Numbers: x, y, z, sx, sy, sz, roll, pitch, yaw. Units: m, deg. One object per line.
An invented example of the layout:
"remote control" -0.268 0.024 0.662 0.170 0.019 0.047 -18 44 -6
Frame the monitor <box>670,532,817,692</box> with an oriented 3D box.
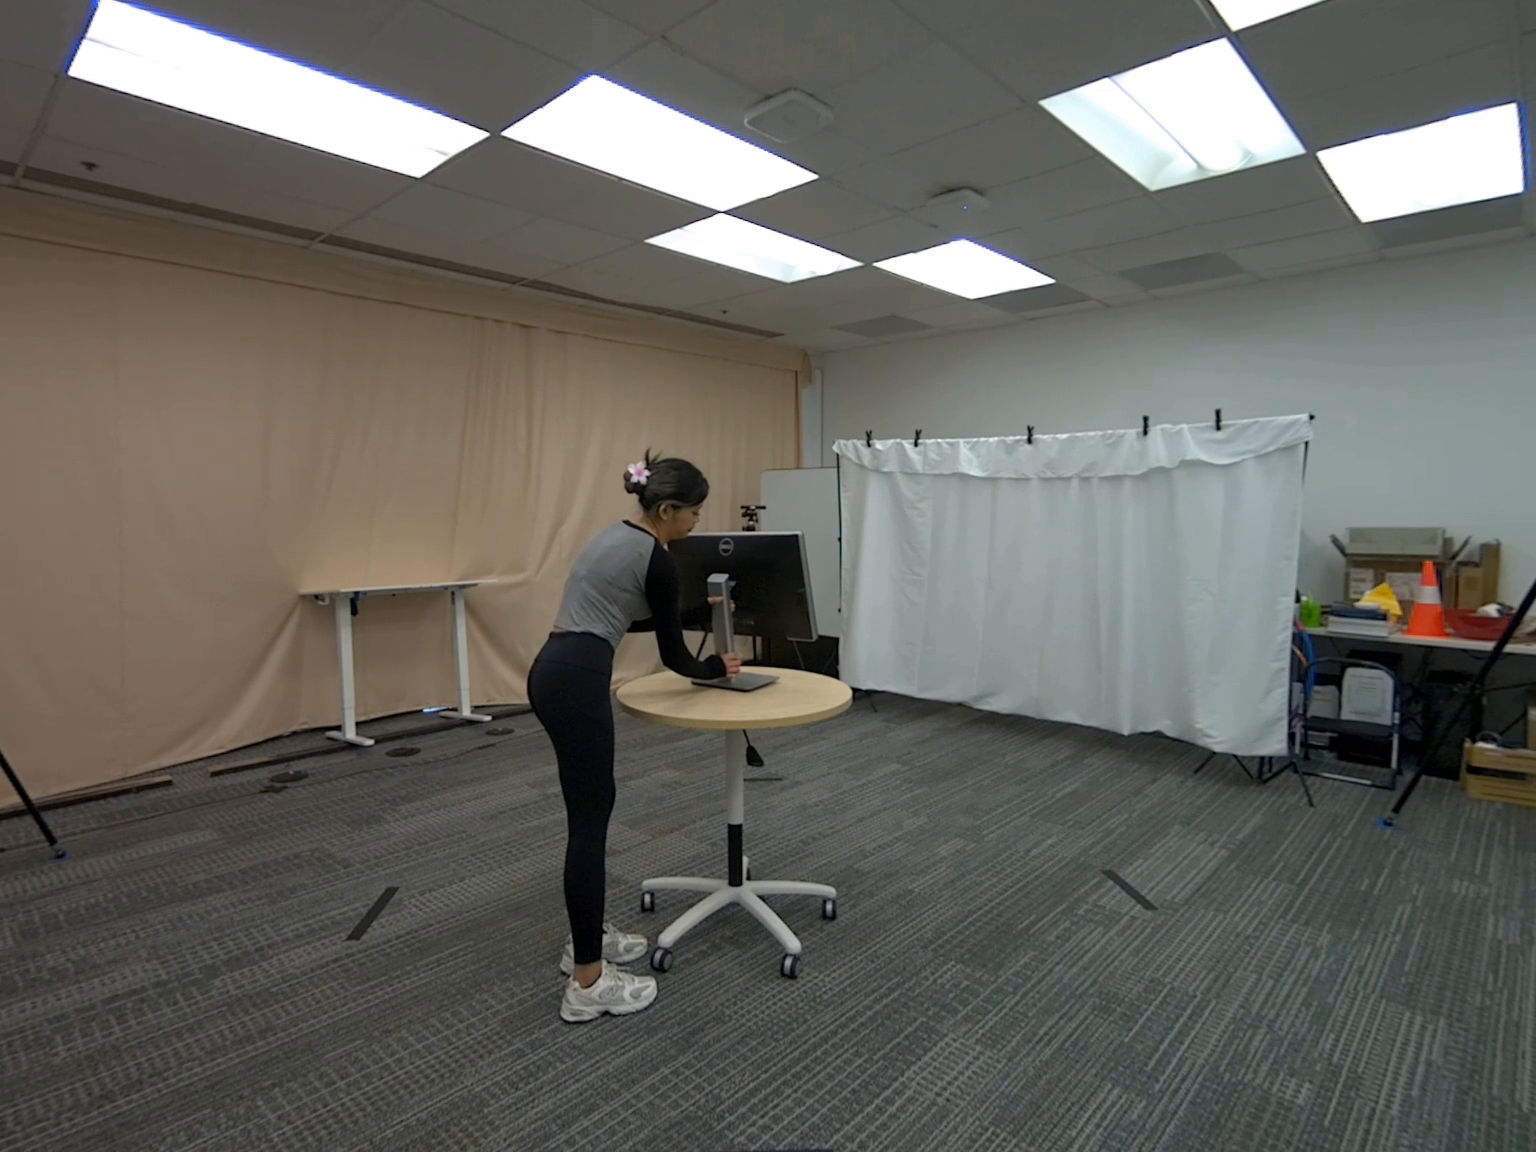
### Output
"monitor" -0.118 0.116 2.824 0.555 0.522 0.182 1 2 34
